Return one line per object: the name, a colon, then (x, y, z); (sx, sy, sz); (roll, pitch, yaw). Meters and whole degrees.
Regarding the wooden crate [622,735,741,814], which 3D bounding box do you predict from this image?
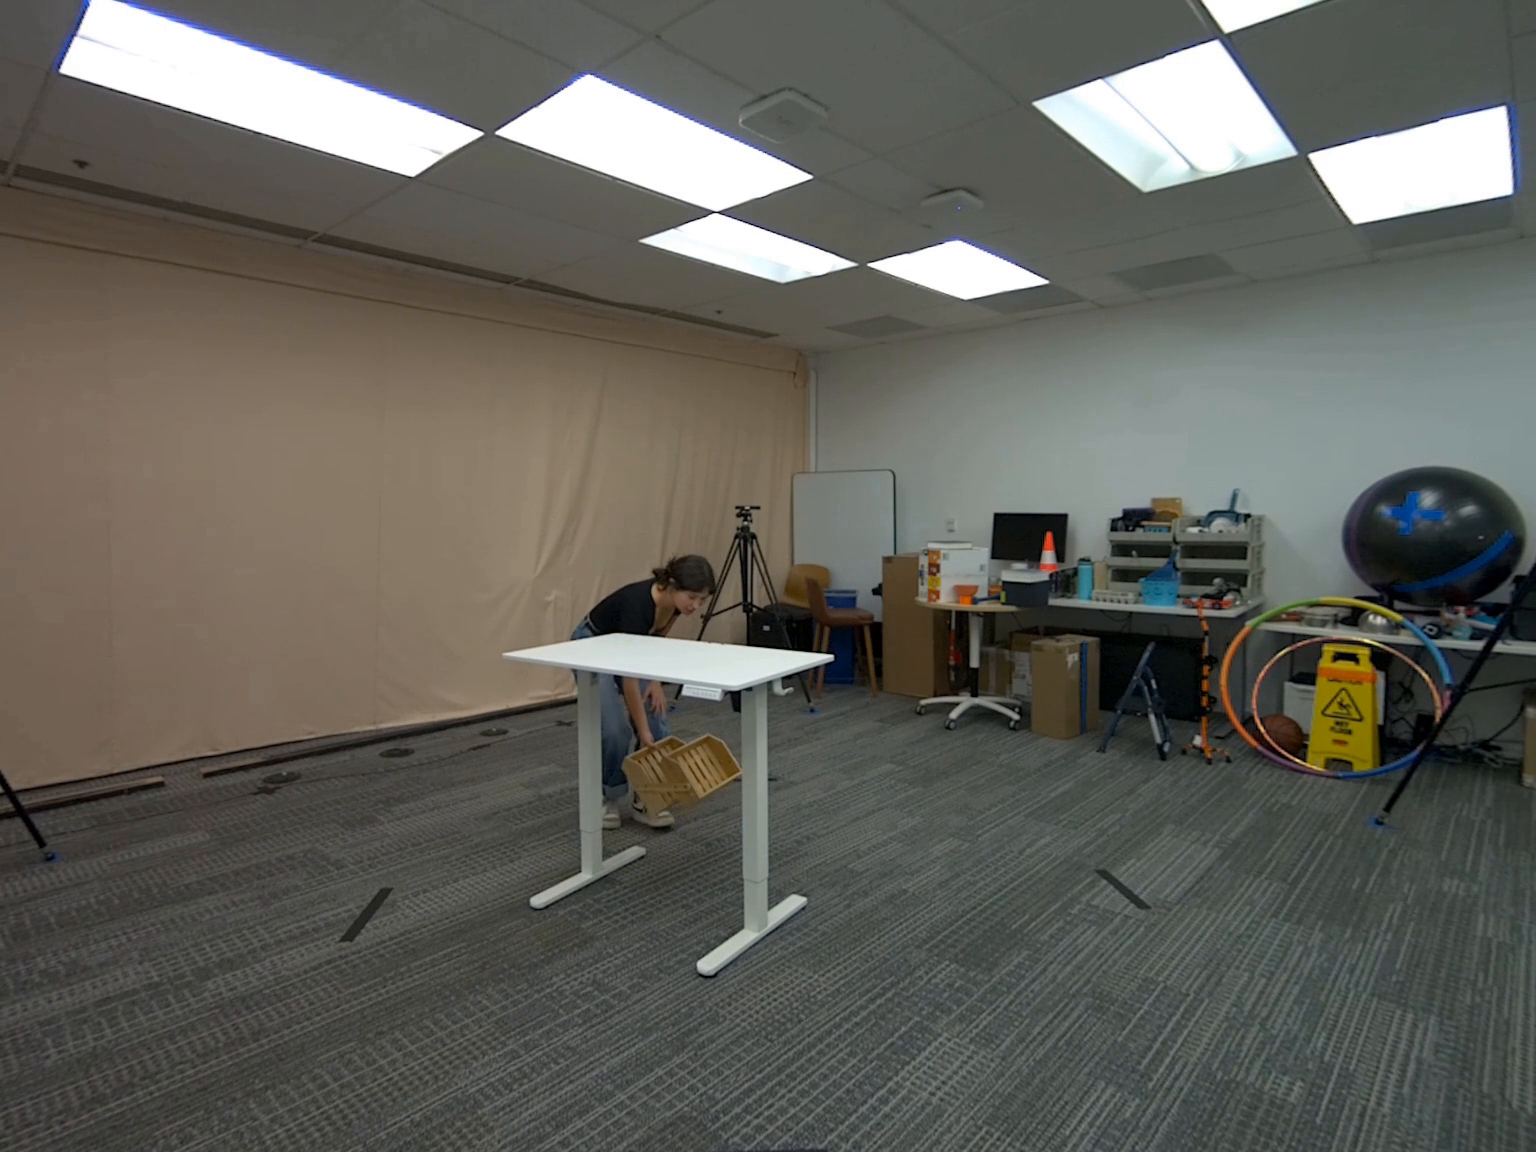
wooden crate: (-0.341, 0.757, 3.338); (0.275, 0.307, 0.316); (-44, -16, 29)
